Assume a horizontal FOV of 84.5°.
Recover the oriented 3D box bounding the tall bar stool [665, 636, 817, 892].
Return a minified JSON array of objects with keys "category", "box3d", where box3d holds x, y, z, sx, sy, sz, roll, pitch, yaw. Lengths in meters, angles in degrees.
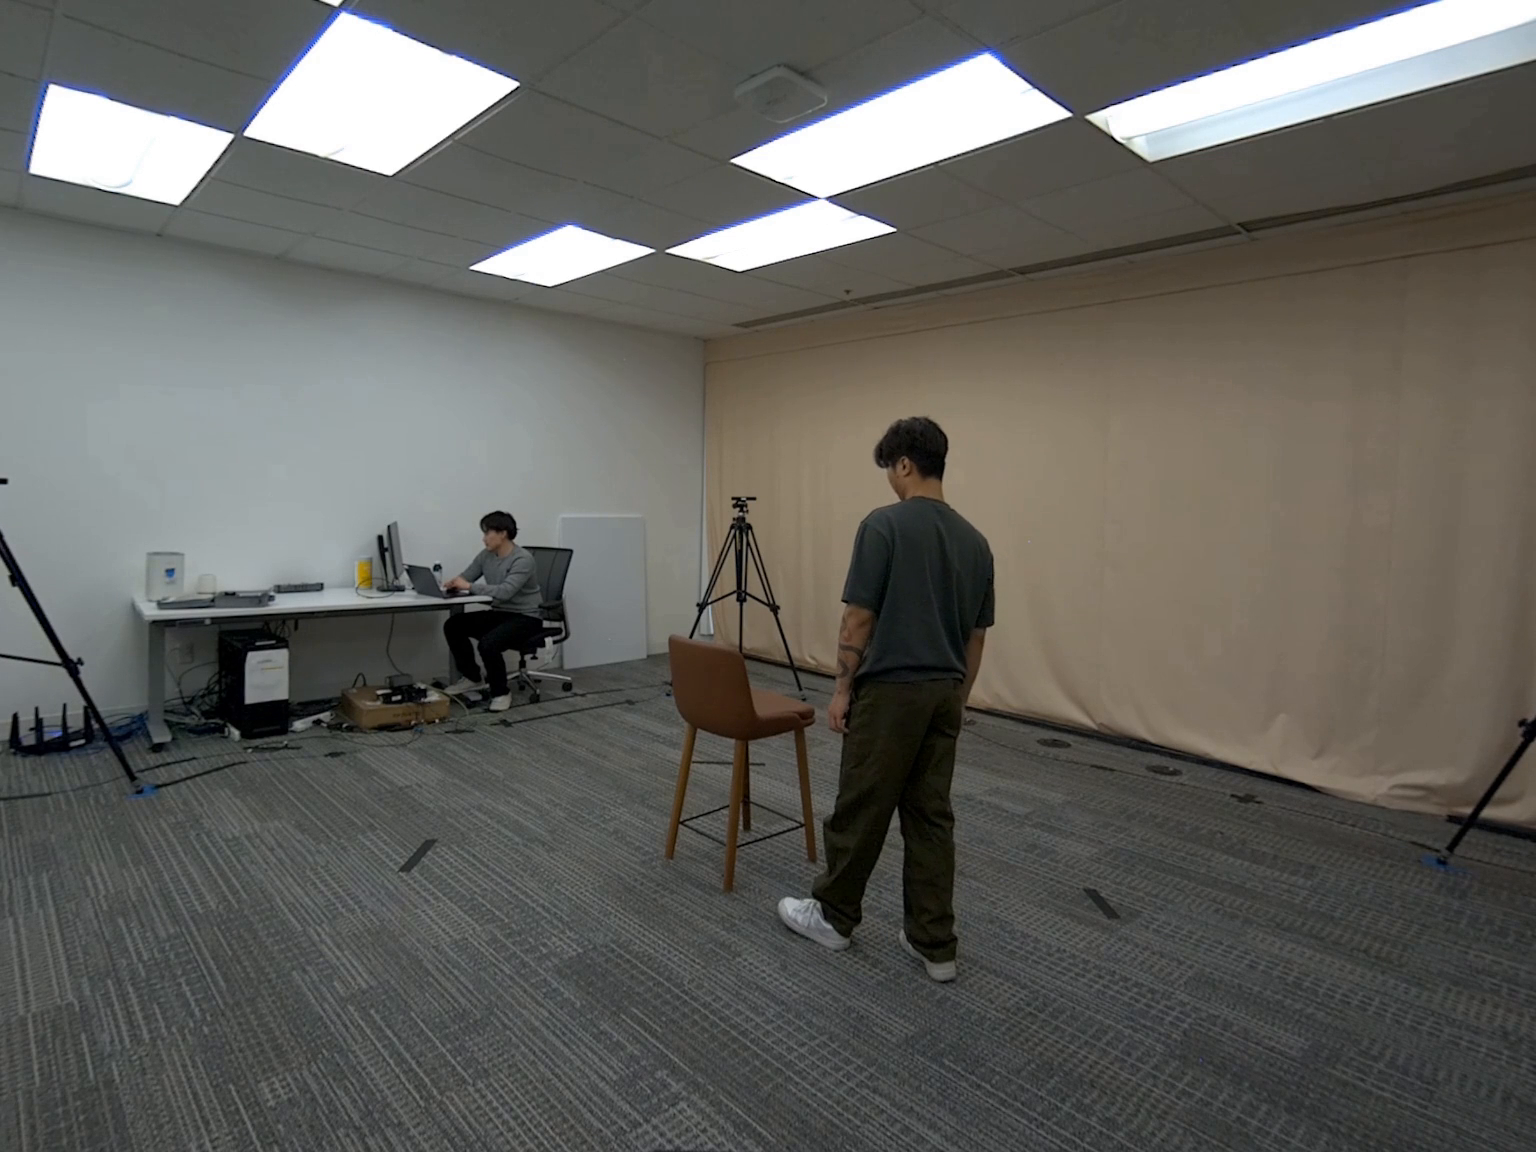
[{"category":"tall bar stool","box3d":[-0.110,0.660,3.227,0.457,0.887,0.468,-4,5,-42]}]
